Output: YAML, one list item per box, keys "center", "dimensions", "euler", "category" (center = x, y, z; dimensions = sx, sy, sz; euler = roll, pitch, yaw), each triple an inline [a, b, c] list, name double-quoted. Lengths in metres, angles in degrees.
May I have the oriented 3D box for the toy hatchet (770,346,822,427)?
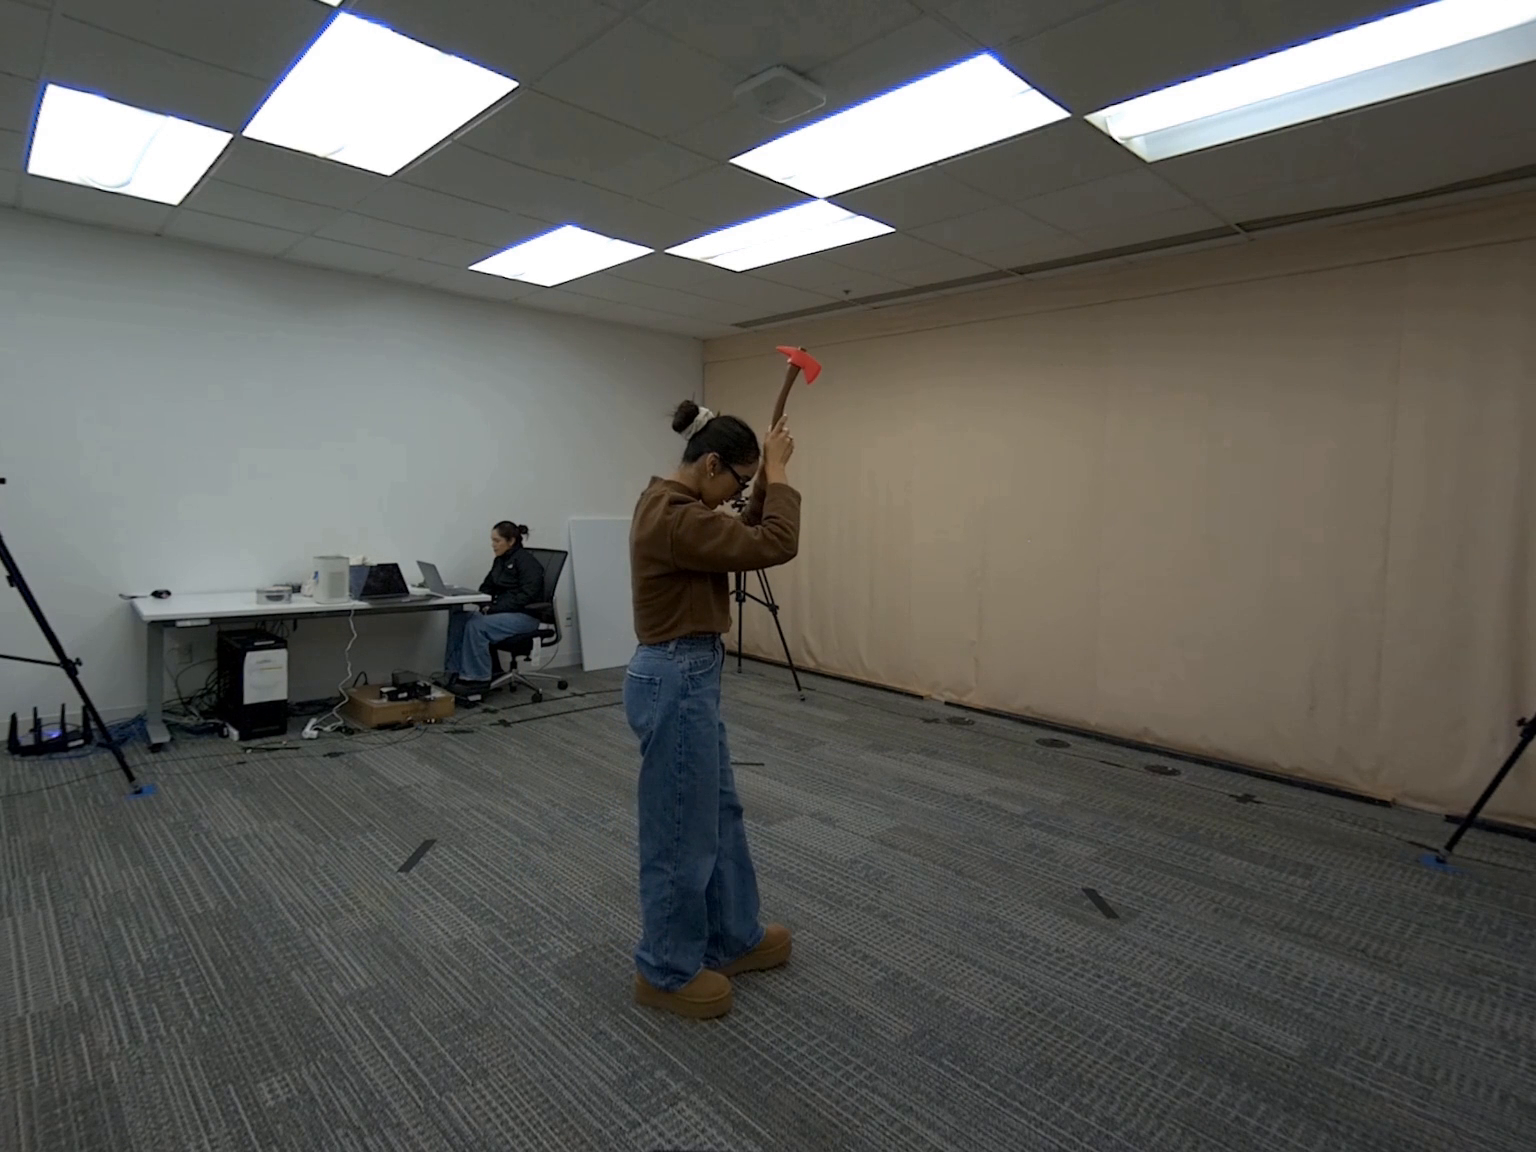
- center: [0.064, -0.478, 2.242]
  dimensions: [0.129, 0.269, 0.030]
  euler: [3, 4, -13]
  category: "toy hatchet"
